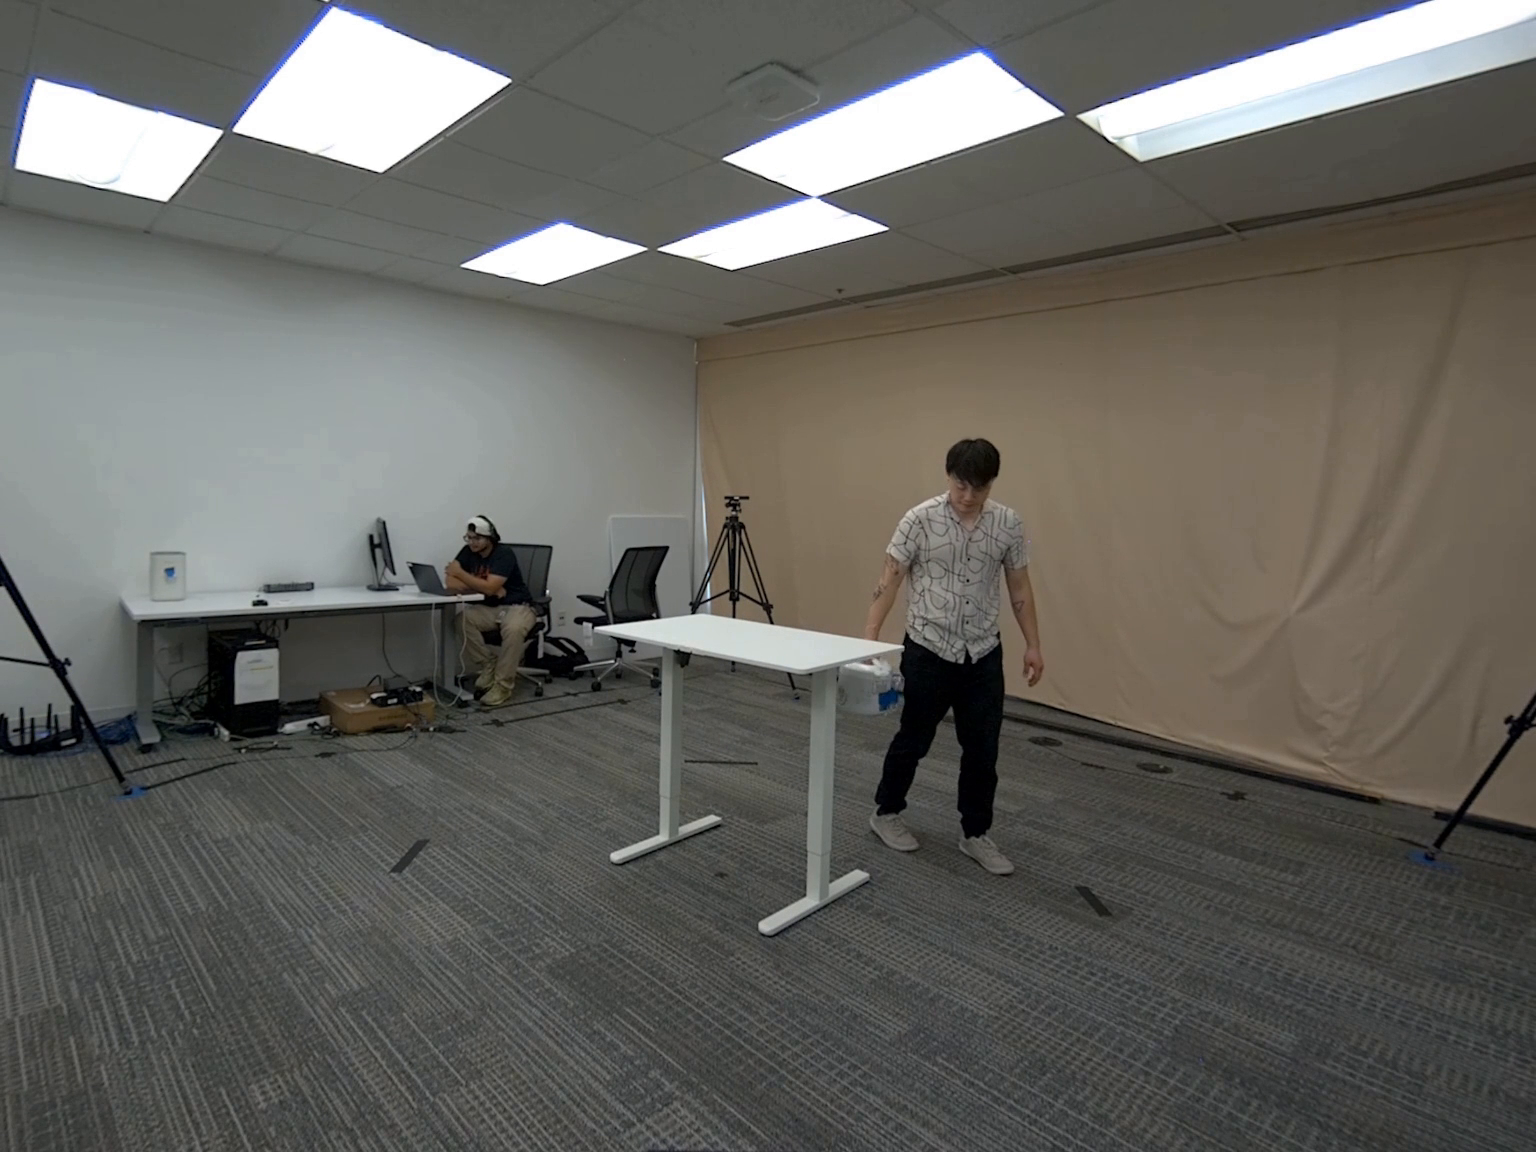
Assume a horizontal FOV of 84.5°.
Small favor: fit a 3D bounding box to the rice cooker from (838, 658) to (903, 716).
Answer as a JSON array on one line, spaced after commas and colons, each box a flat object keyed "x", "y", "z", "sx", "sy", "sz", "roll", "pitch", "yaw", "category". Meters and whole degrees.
[{"x": 0.375, "y": 0.419, "z": 3.337, "sx": 0.213, "sy": 0.231, "sz": 0.226, "roll": 0, "pitch": 9, "yaw": -26, "category": "rice cooker"}]
